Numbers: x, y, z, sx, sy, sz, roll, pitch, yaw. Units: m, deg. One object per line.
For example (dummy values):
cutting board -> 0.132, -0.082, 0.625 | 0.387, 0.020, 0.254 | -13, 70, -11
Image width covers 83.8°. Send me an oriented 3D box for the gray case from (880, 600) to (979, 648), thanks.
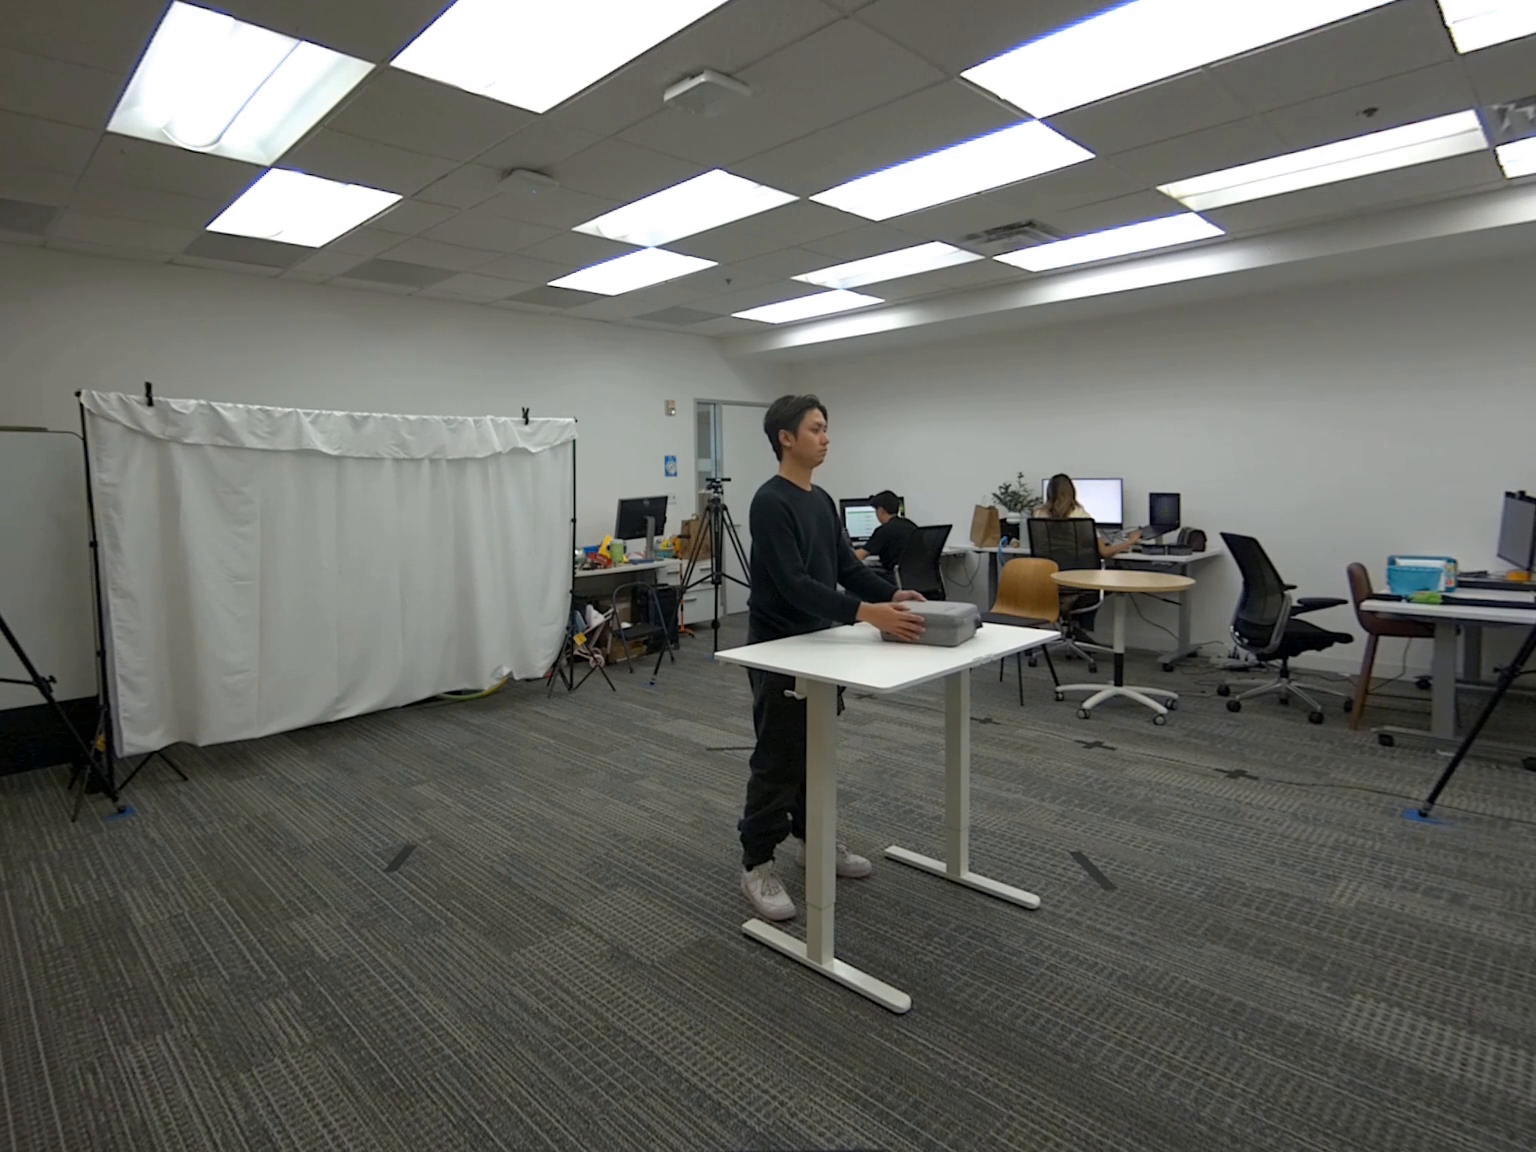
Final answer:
gray case -> 0.510, 0.146, 2.689 | 0.268, 0.104, 0.251 | 3, 7, 33
